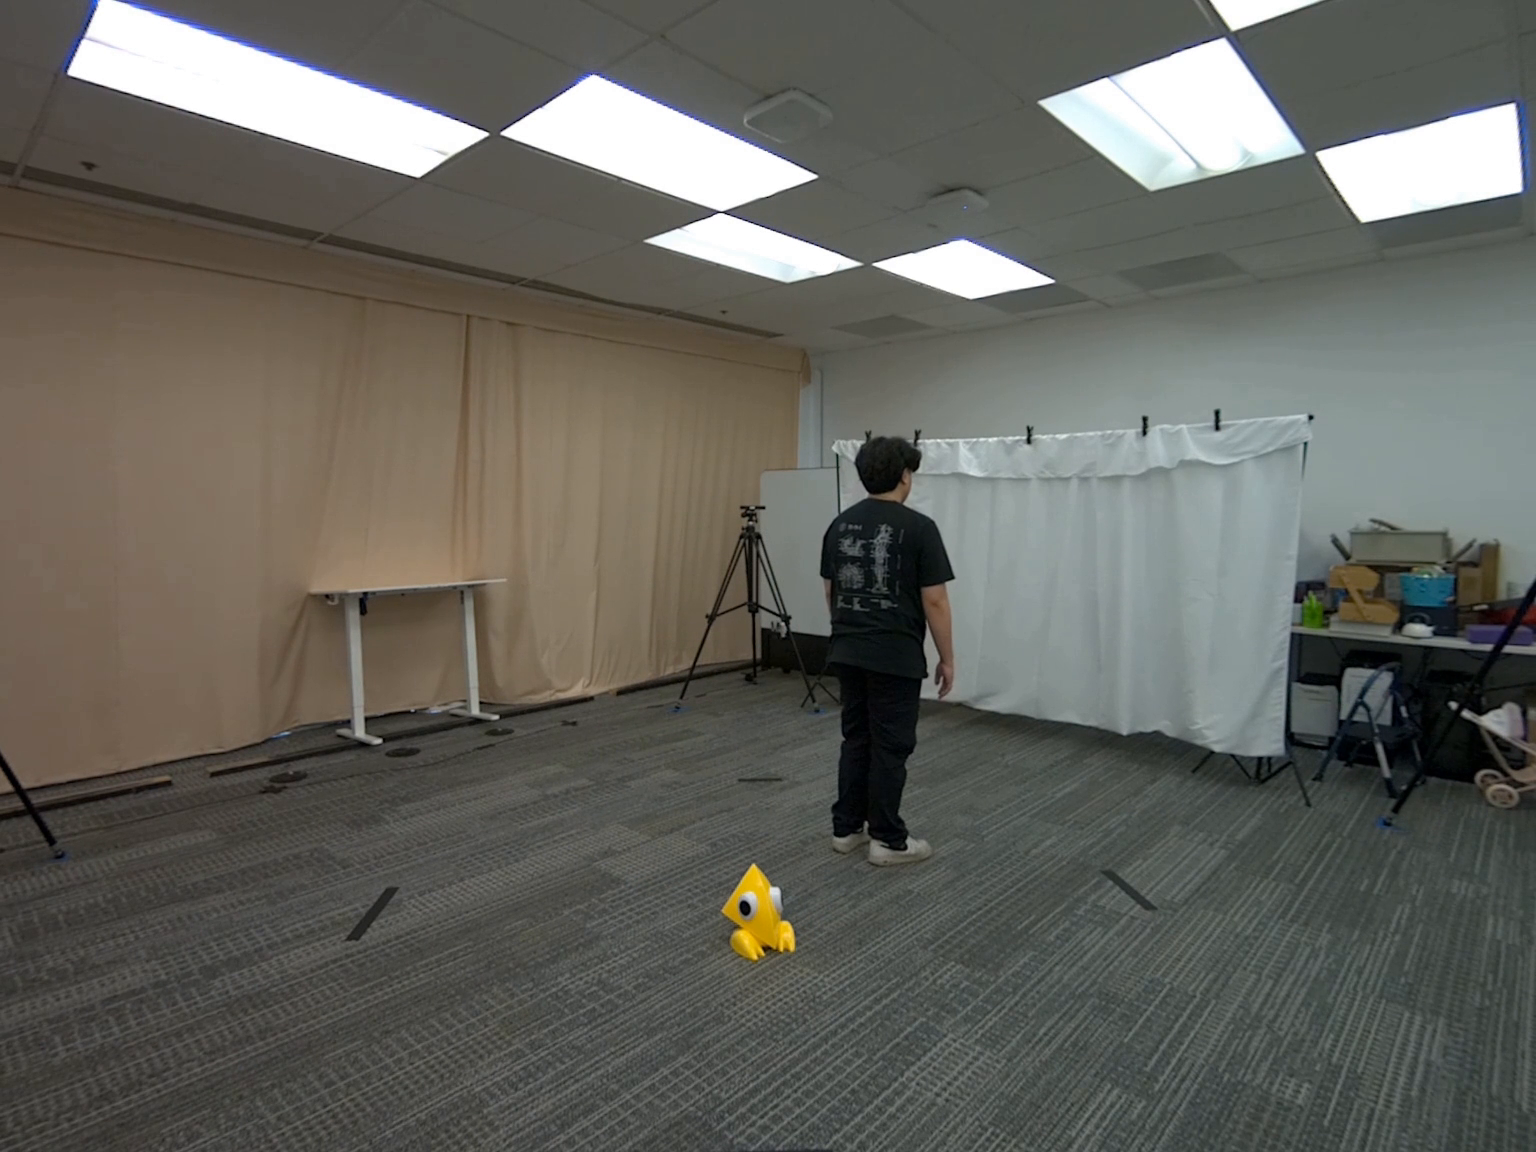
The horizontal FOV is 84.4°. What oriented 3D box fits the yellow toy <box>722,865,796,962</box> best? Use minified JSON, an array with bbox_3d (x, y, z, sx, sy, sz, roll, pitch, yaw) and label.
[{"bbox_3d":[-0.016,1.058,2.677,0.200,0.230,0.198,-1,4,-25],"label":"yellow toy"}]
